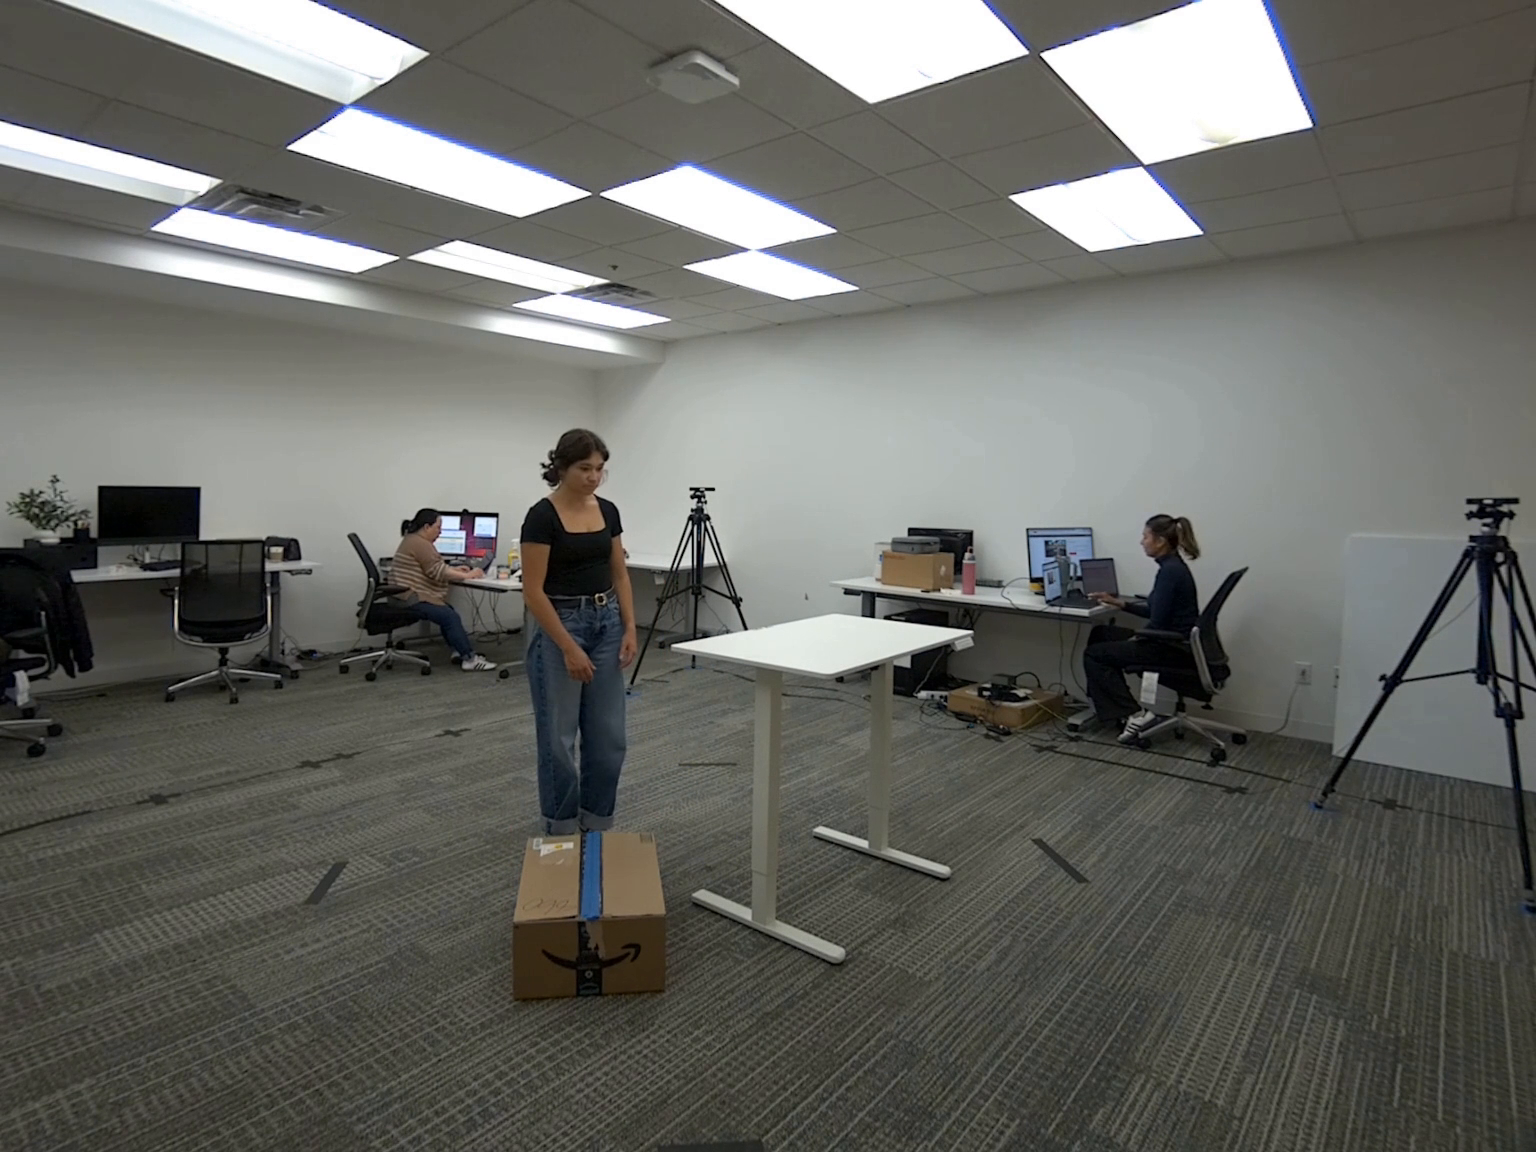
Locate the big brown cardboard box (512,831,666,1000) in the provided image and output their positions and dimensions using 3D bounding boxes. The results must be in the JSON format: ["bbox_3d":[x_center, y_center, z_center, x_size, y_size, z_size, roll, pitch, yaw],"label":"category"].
[{"bbox_3d":[-0.547,1.000,2.586,0.413,0.232,0.598,0,6,-11],"label":"big brown cardboard box"}]
